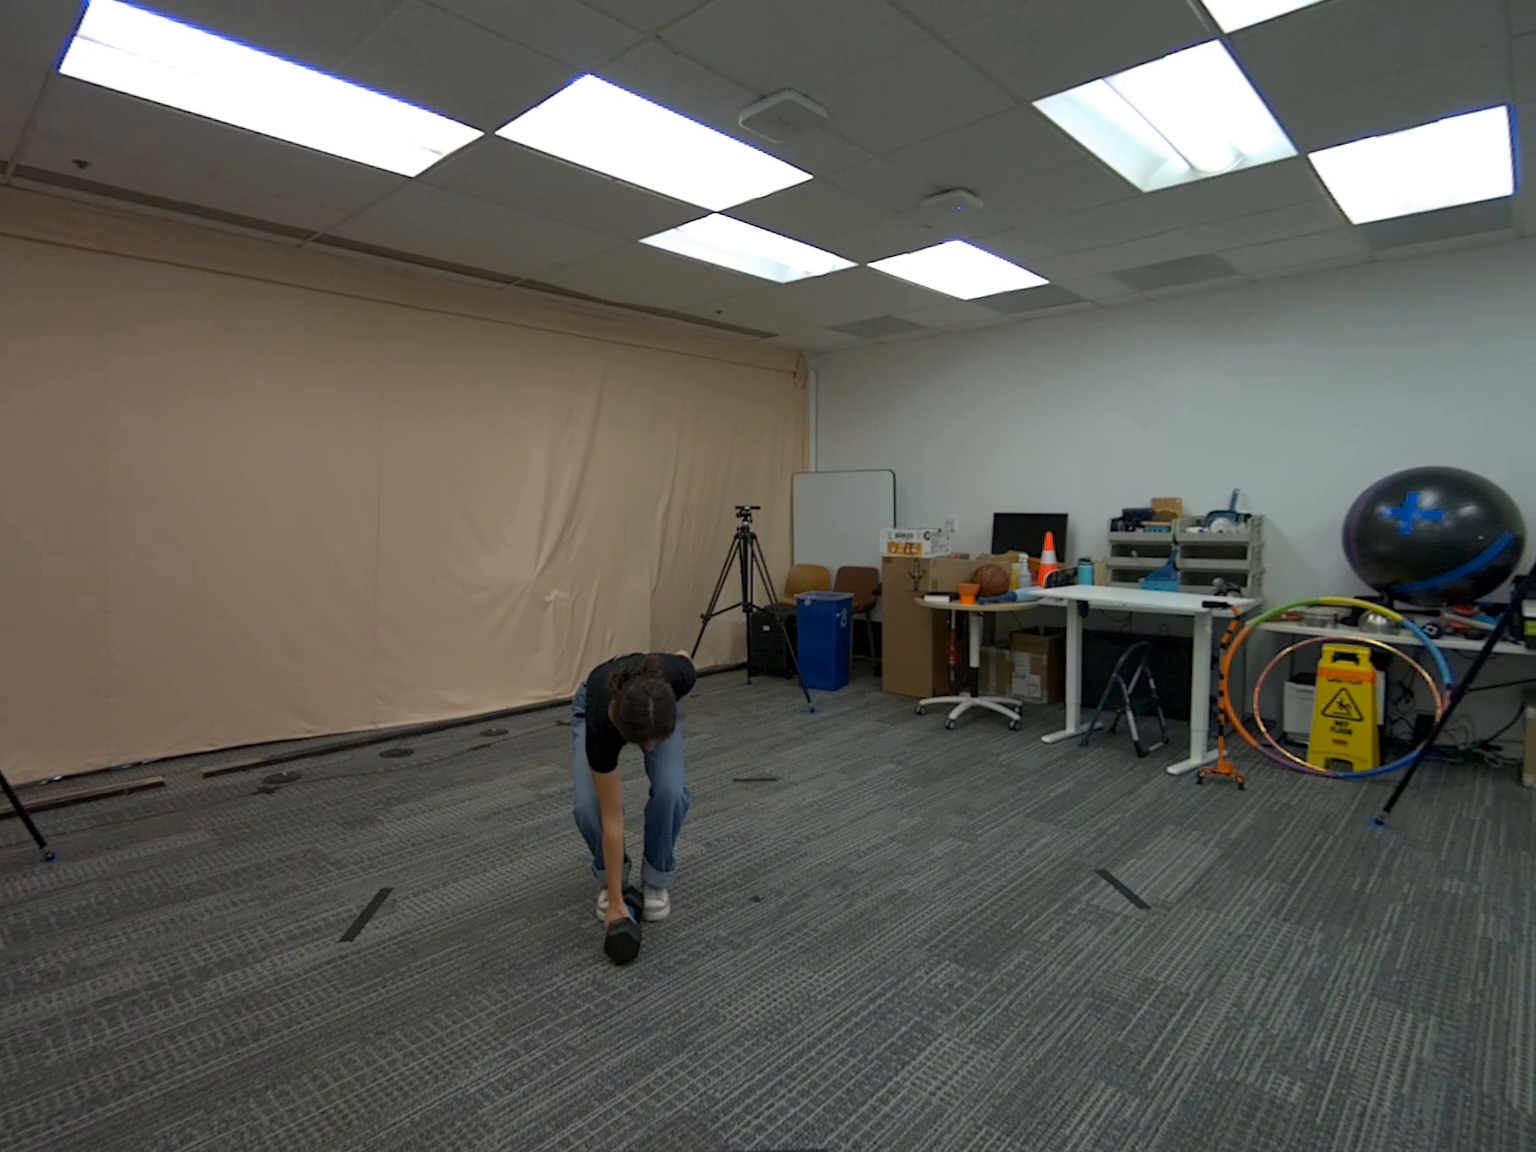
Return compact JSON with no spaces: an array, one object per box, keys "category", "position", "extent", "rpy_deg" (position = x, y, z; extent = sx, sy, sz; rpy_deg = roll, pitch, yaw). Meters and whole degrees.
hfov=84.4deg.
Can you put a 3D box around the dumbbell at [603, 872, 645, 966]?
[{"category":"dumbbell","position":[-0.459,1.101,2.686],"extent":[0.108,0.123,0.296],"rpy_deg":[13,3,-7]}]
